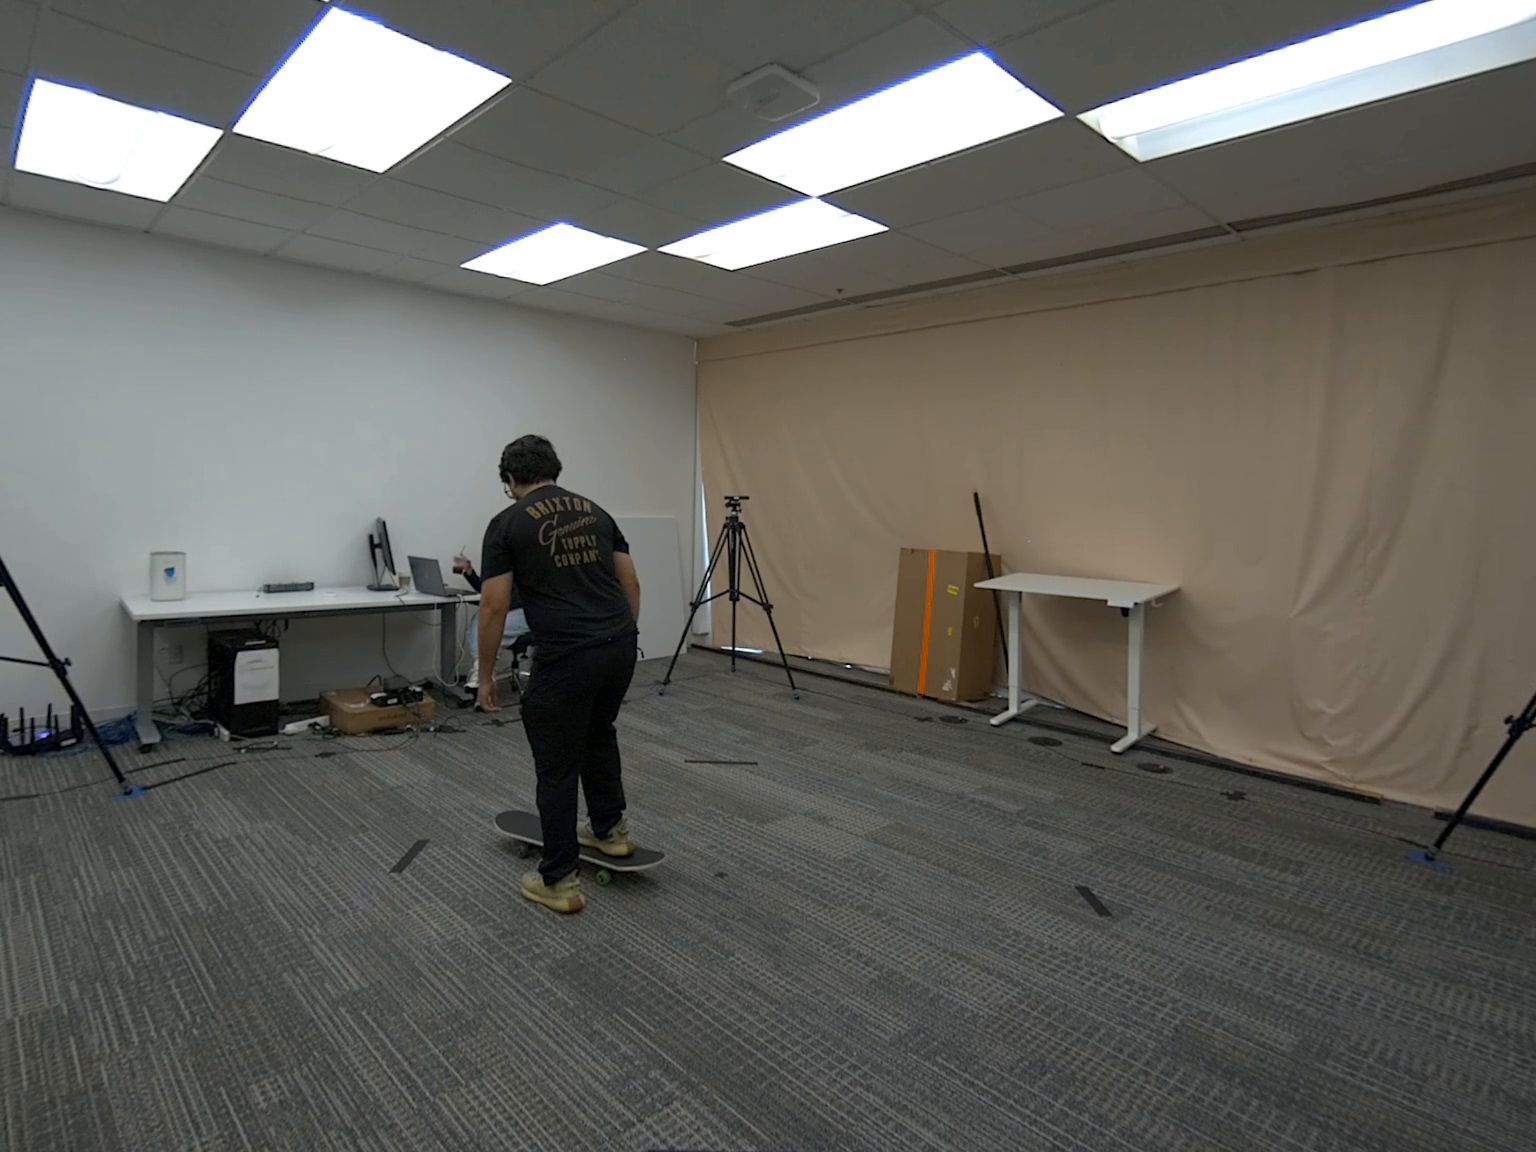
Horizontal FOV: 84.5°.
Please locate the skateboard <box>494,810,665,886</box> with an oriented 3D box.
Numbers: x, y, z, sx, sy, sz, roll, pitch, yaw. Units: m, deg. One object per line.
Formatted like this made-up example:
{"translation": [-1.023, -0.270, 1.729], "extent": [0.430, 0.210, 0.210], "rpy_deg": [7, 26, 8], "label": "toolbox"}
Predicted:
{"translation": [-0.725, 1.031, 3.168], "extent": [0.803, 0.110, 0.190], "rpy_deg": [5, 5, 31], "label": "skateboard"}
